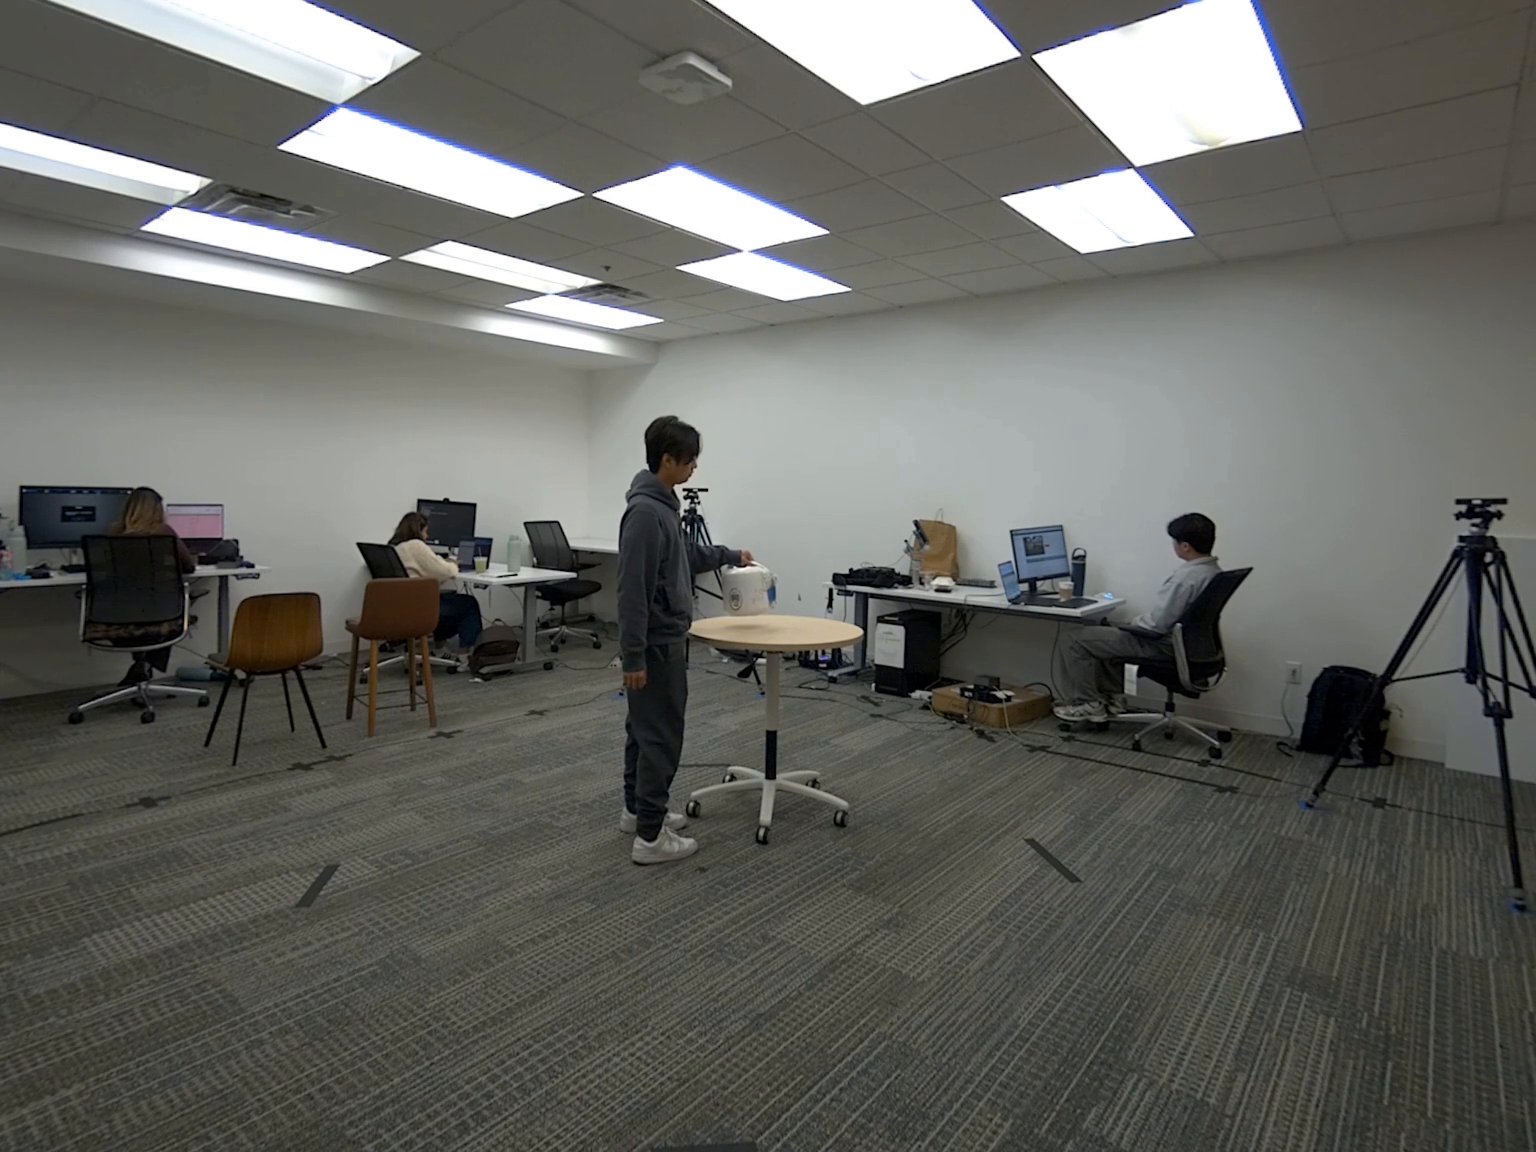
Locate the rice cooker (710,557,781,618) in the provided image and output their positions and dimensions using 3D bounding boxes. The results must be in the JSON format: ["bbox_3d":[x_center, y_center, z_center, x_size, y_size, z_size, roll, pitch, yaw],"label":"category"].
[{"bbox_3d":[-0.101,0.048,3.664,0.226,0.232,0.212,-3,2,27],"label":"rice cooker"}]
